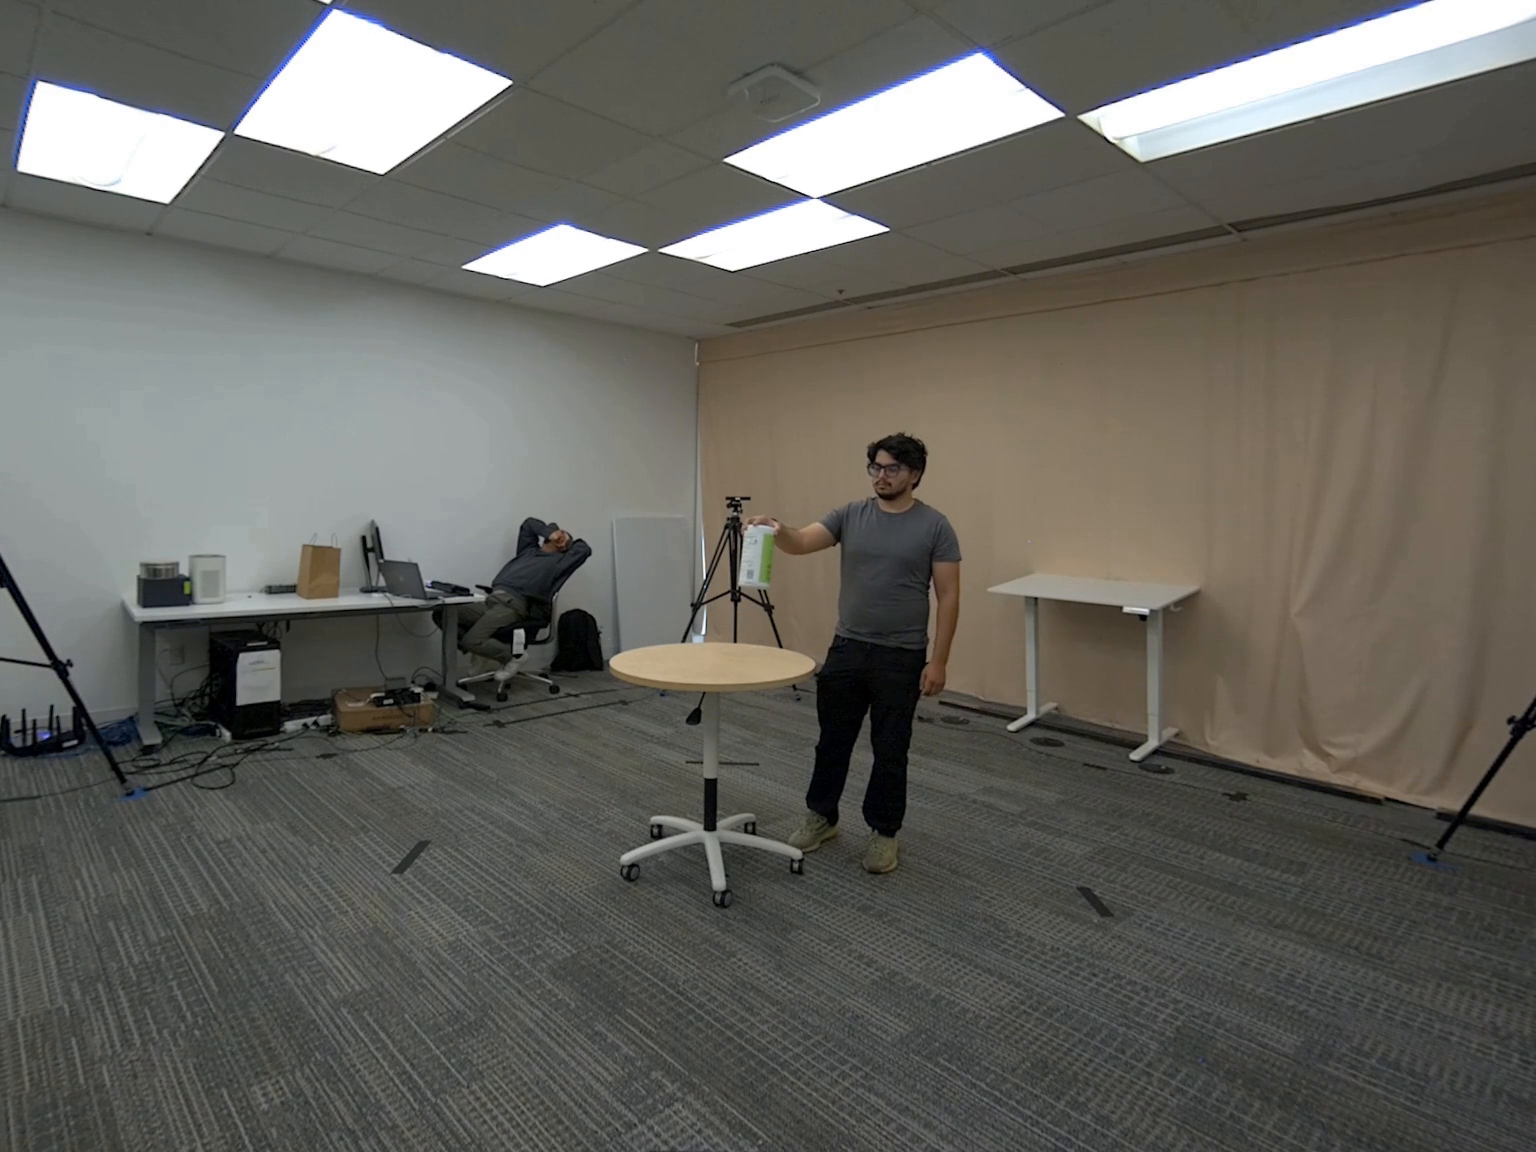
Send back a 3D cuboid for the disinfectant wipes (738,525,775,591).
[{"bbox_3d":[-0.046,-0.060,2.917,0.118,0.218,0.117,6,-6,-1],"label":"disinfectant wipes"}]
